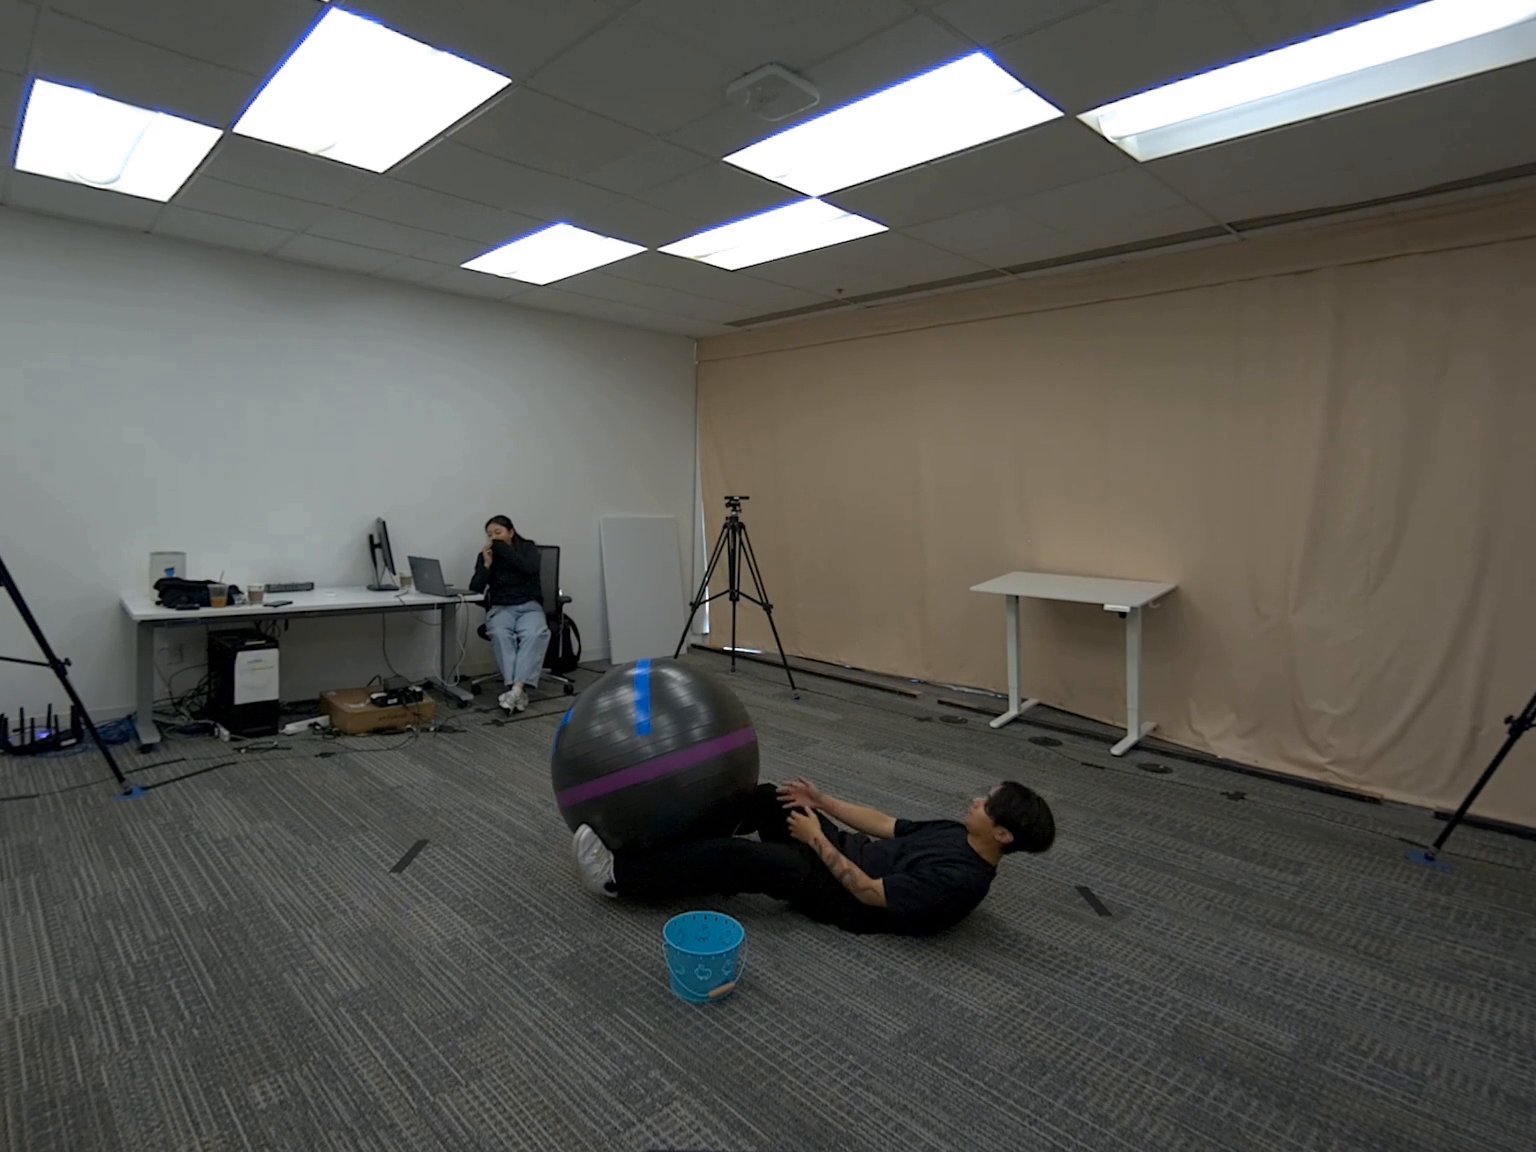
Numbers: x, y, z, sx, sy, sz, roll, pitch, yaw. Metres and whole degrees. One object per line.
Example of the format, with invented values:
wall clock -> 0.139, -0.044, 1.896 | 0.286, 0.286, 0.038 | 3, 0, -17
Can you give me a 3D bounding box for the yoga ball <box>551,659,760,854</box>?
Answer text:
yoga ball -> -0.418, 0.697, 3.107 | 0.757, 0.756, 0.761 | 1, 4, -1
